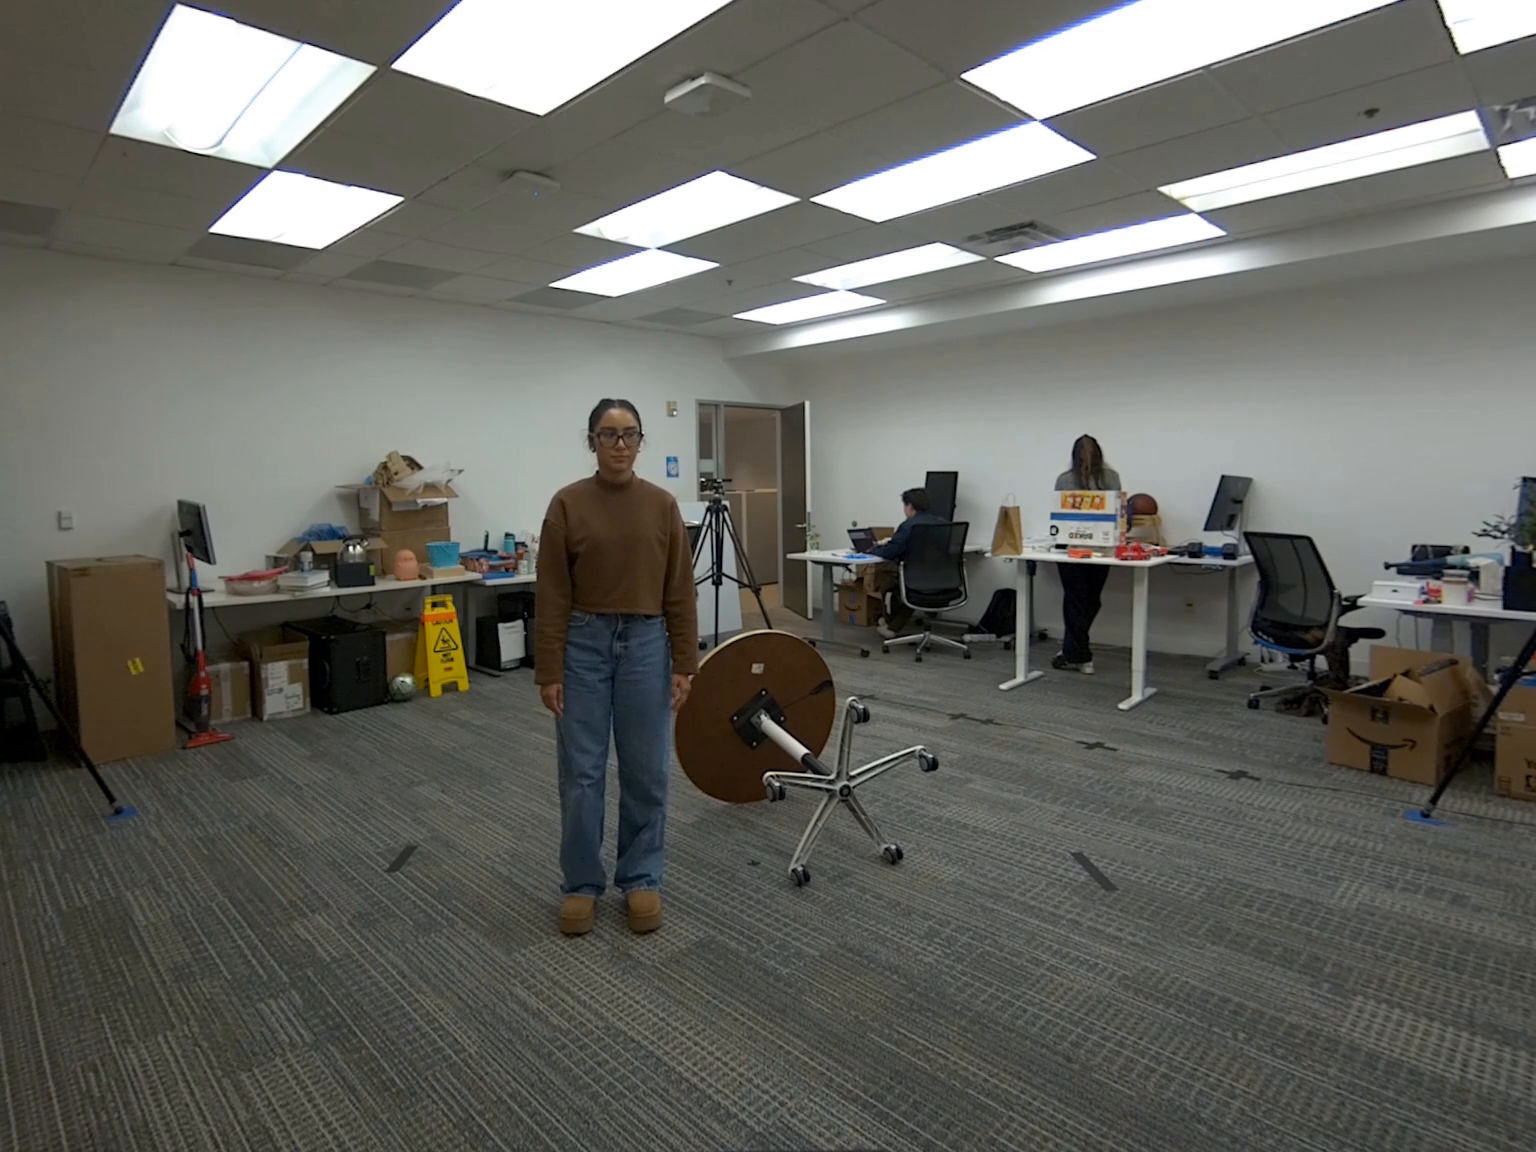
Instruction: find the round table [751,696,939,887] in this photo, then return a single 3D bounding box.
[{"bbox_3d":[0.135,0.684,3.301,0.748,0.756,0.819,-3,13,-26],"label":"round table"}]
